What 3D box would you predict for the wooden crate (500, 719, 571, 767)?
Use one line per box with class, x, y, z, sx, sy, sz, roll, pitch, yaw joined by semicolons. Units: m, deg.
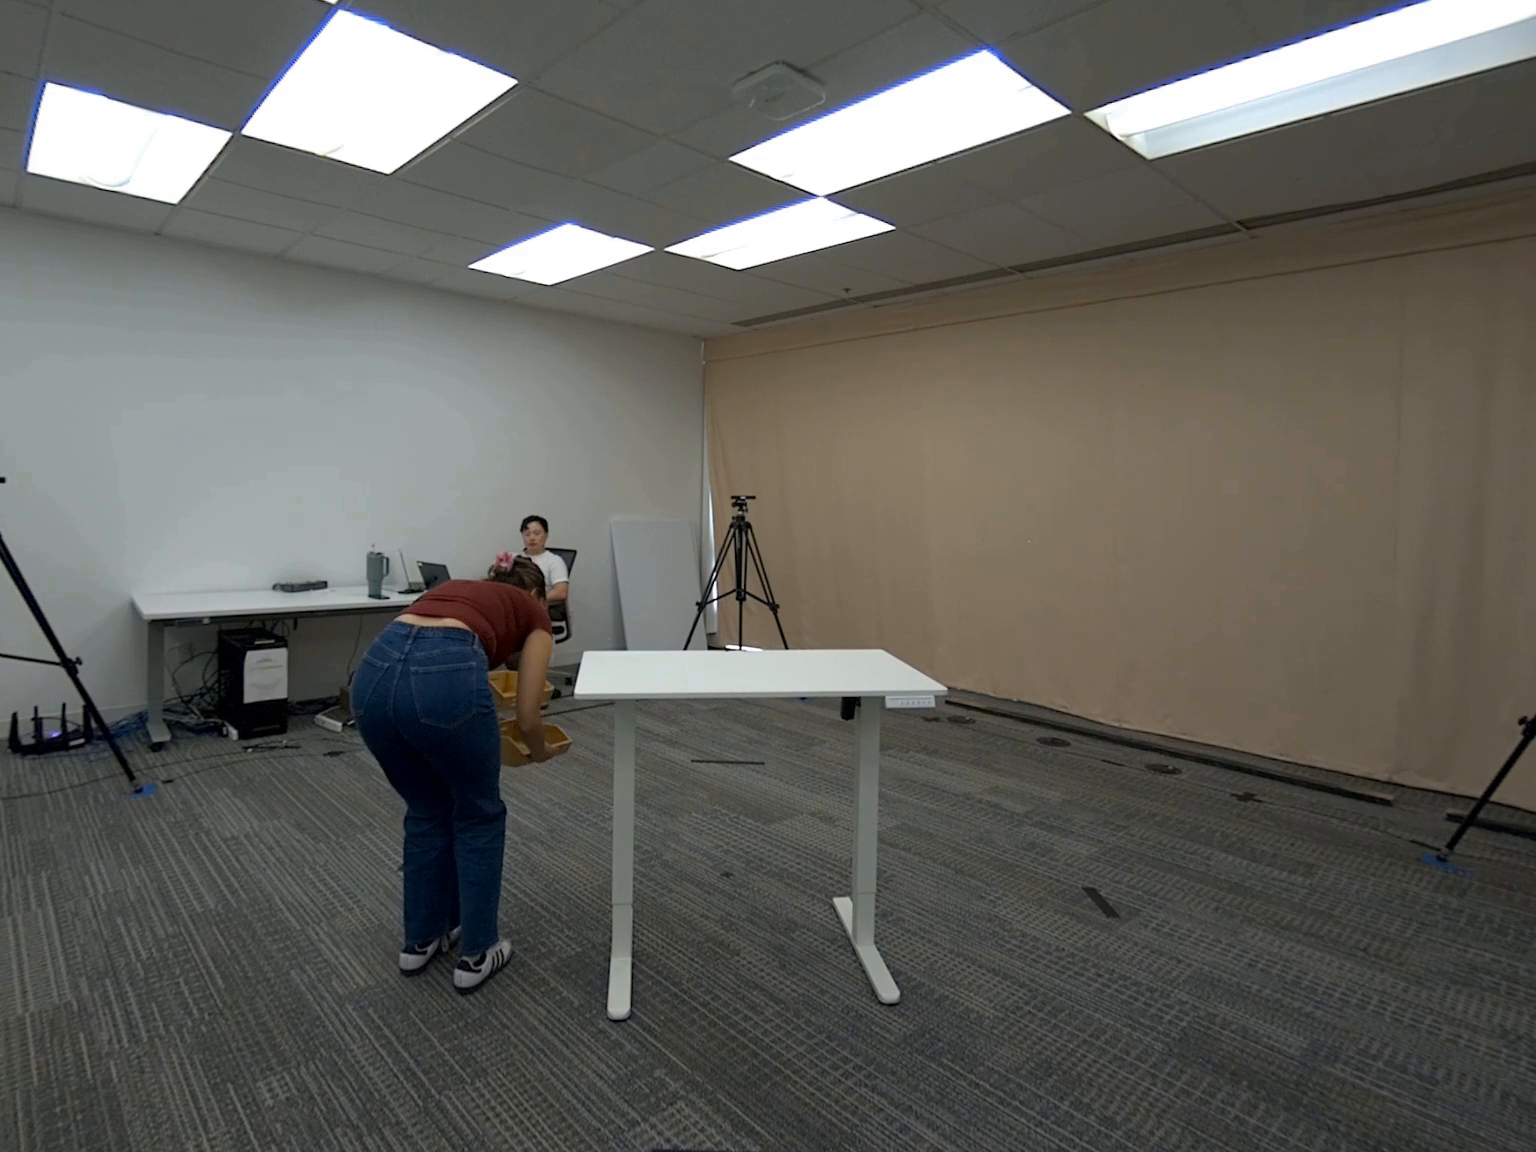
wooden crate;-0.870;0.478;2.871;0.307;0.274;0.319;3;-2;19
